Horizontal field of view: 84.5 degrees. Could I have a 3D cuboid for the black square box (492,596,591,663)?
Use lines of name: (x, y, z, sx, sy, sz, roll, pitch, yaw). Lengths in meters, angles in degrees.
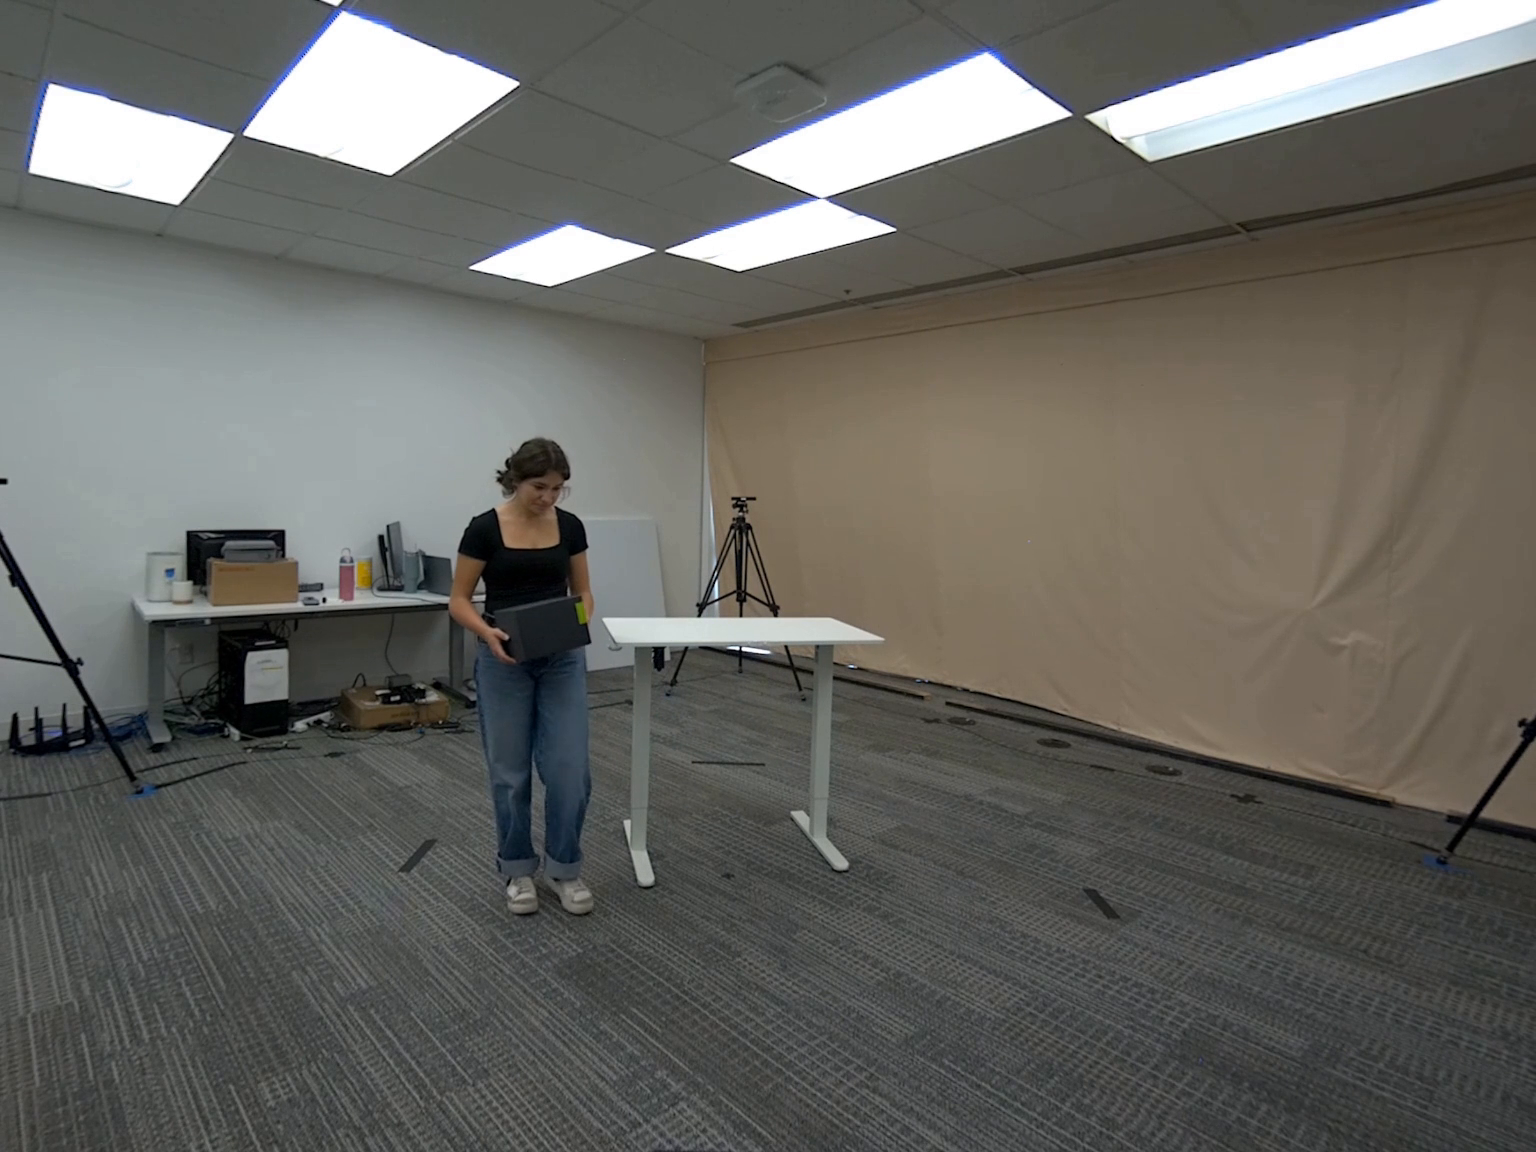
black square box: (-0.717, 0.160, 2.625, 0.213, 0.155, 0.232, -13, 4, -34)
